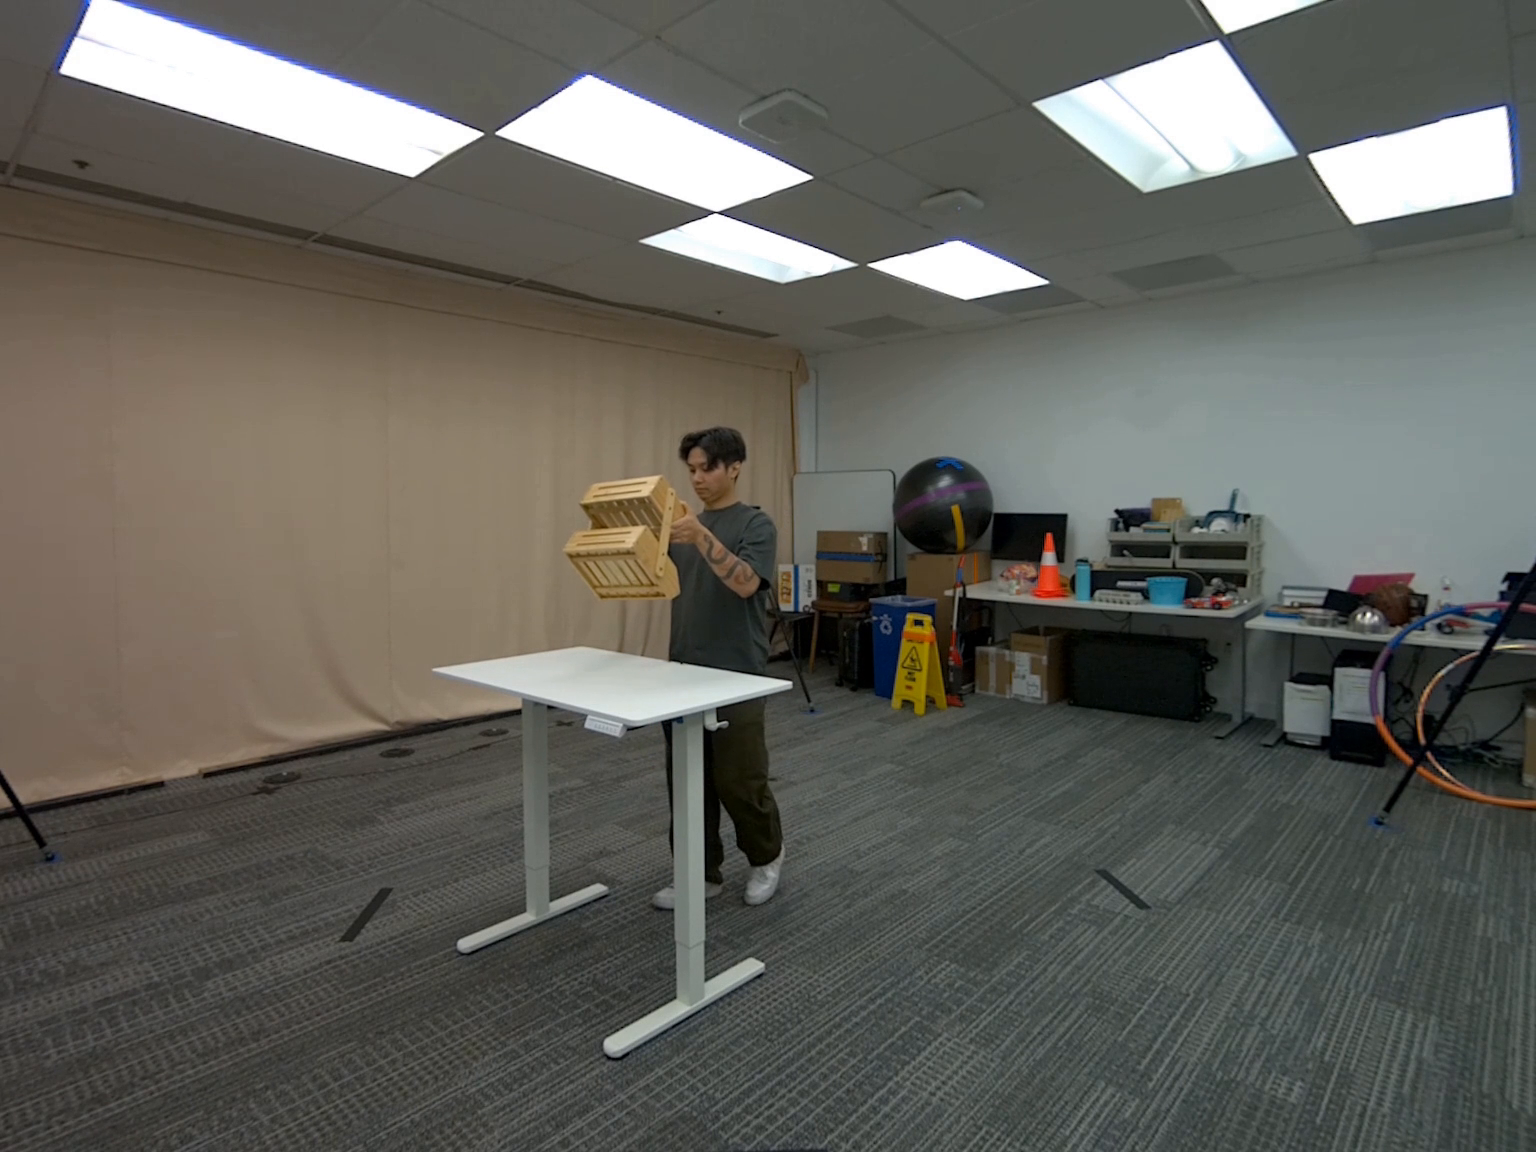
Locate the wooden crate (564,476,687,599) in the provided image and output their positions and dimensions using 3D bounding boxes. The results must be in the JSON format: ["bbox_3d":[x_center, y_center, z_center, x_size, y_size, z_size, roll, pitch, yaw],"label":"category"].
[{"bbox_3d":[-0.428,-0.111,2.668,0.334,0.293,0.274,-2,46,34],"label":"wooden crate"}]
